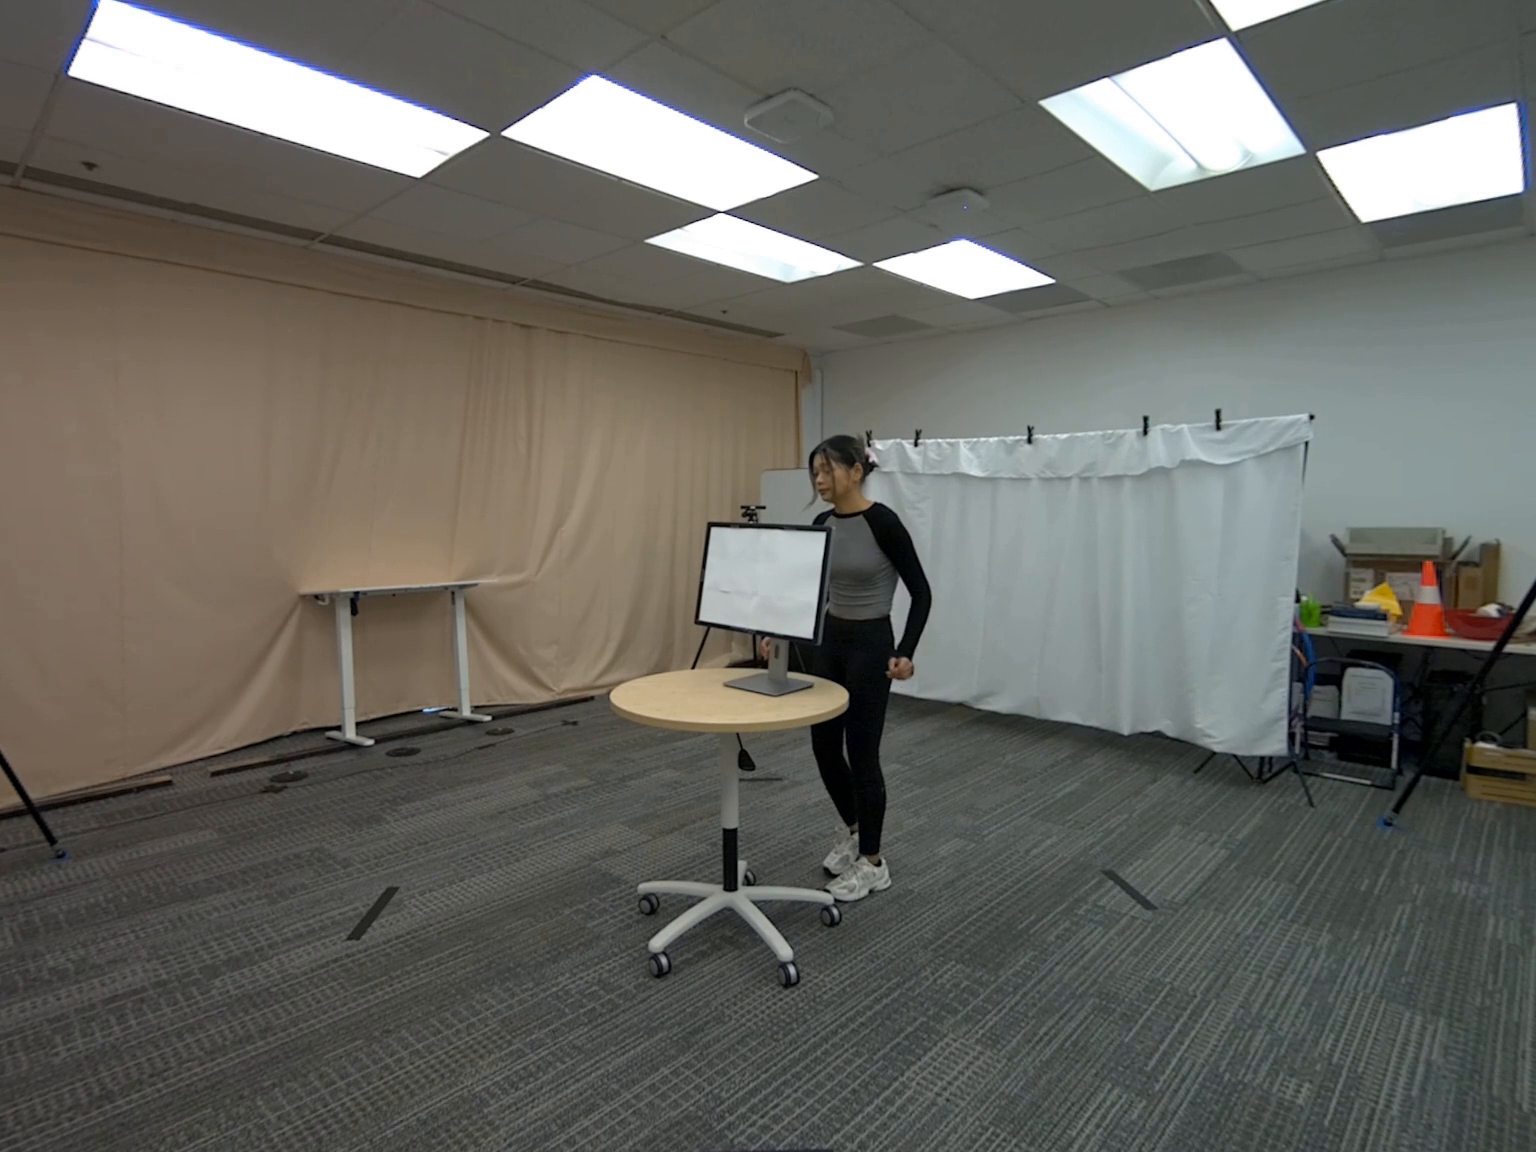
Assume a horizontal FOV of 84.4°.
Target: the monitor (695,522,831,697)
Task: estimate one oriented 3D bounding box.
[{"bbox_3d":[0.004,0.099,2.783,0.557,0.521,0.181,4,8,43],"label":"monitor"}]
